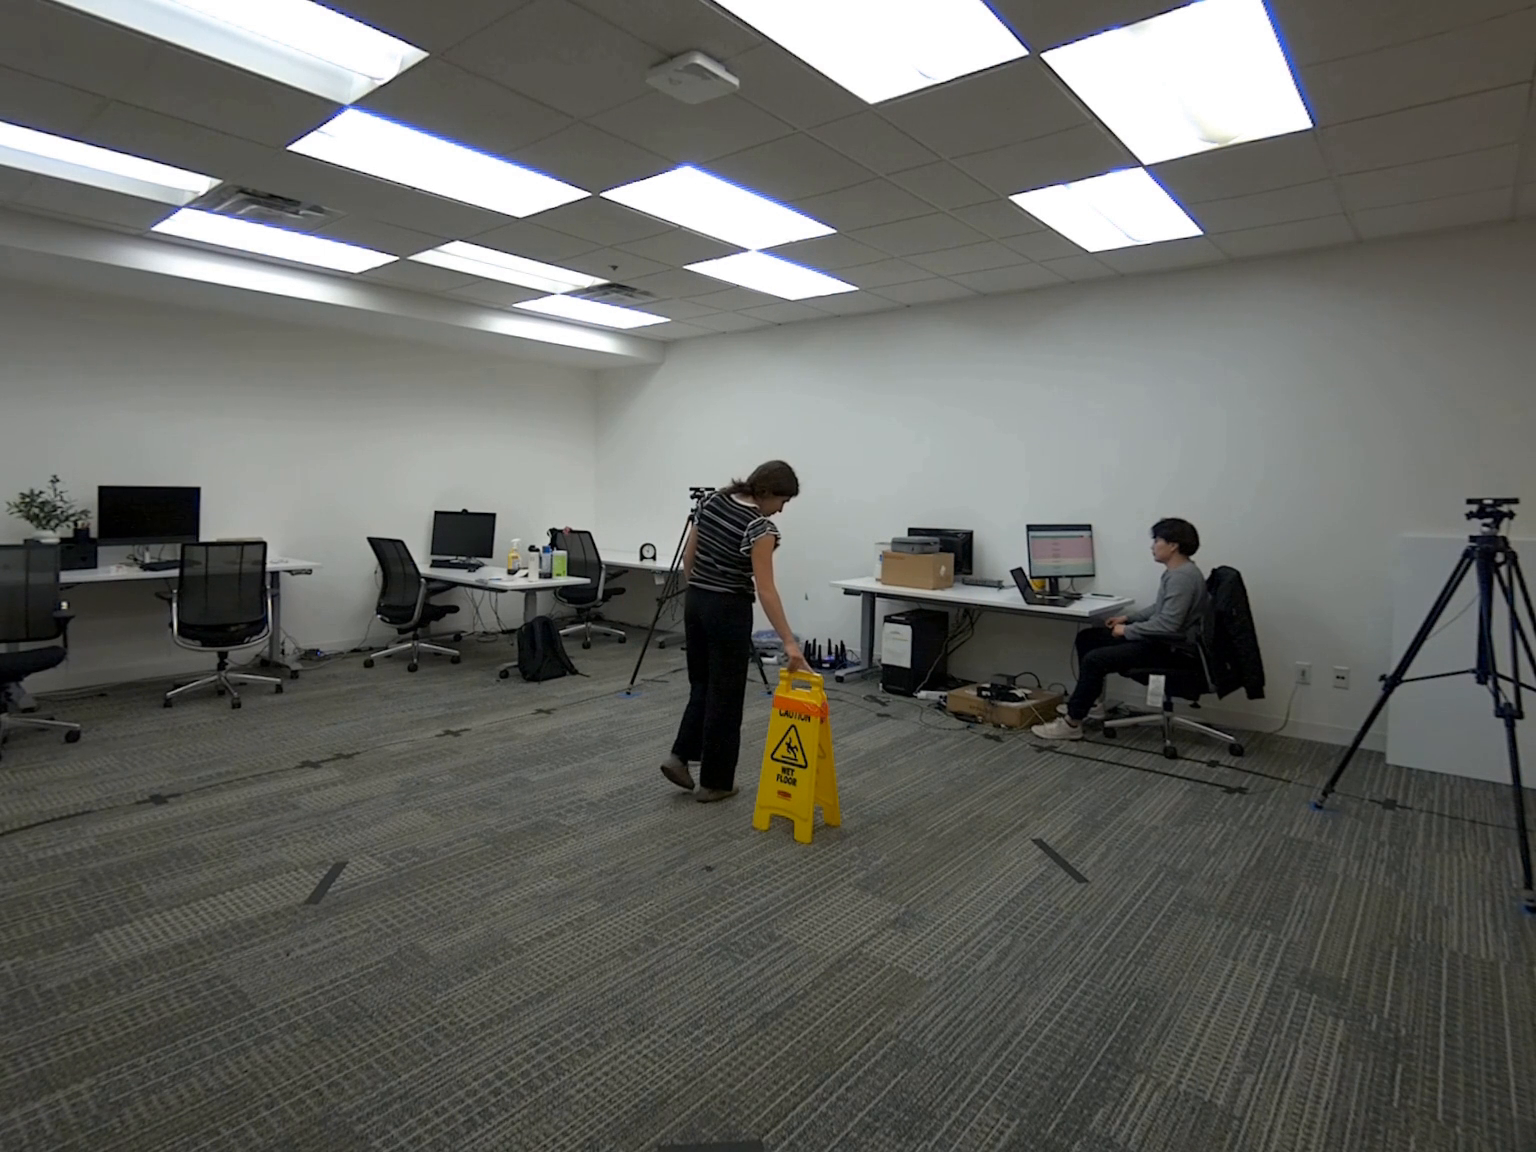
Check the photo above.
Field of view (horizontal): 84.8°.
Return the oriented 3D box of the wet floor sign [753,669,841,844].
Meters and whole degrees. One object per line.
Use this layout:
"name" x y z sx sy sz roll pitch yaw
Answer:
"wet floor sign" 0.120 0.709 3.510 0.291 0.645 0.281 4 3 35
